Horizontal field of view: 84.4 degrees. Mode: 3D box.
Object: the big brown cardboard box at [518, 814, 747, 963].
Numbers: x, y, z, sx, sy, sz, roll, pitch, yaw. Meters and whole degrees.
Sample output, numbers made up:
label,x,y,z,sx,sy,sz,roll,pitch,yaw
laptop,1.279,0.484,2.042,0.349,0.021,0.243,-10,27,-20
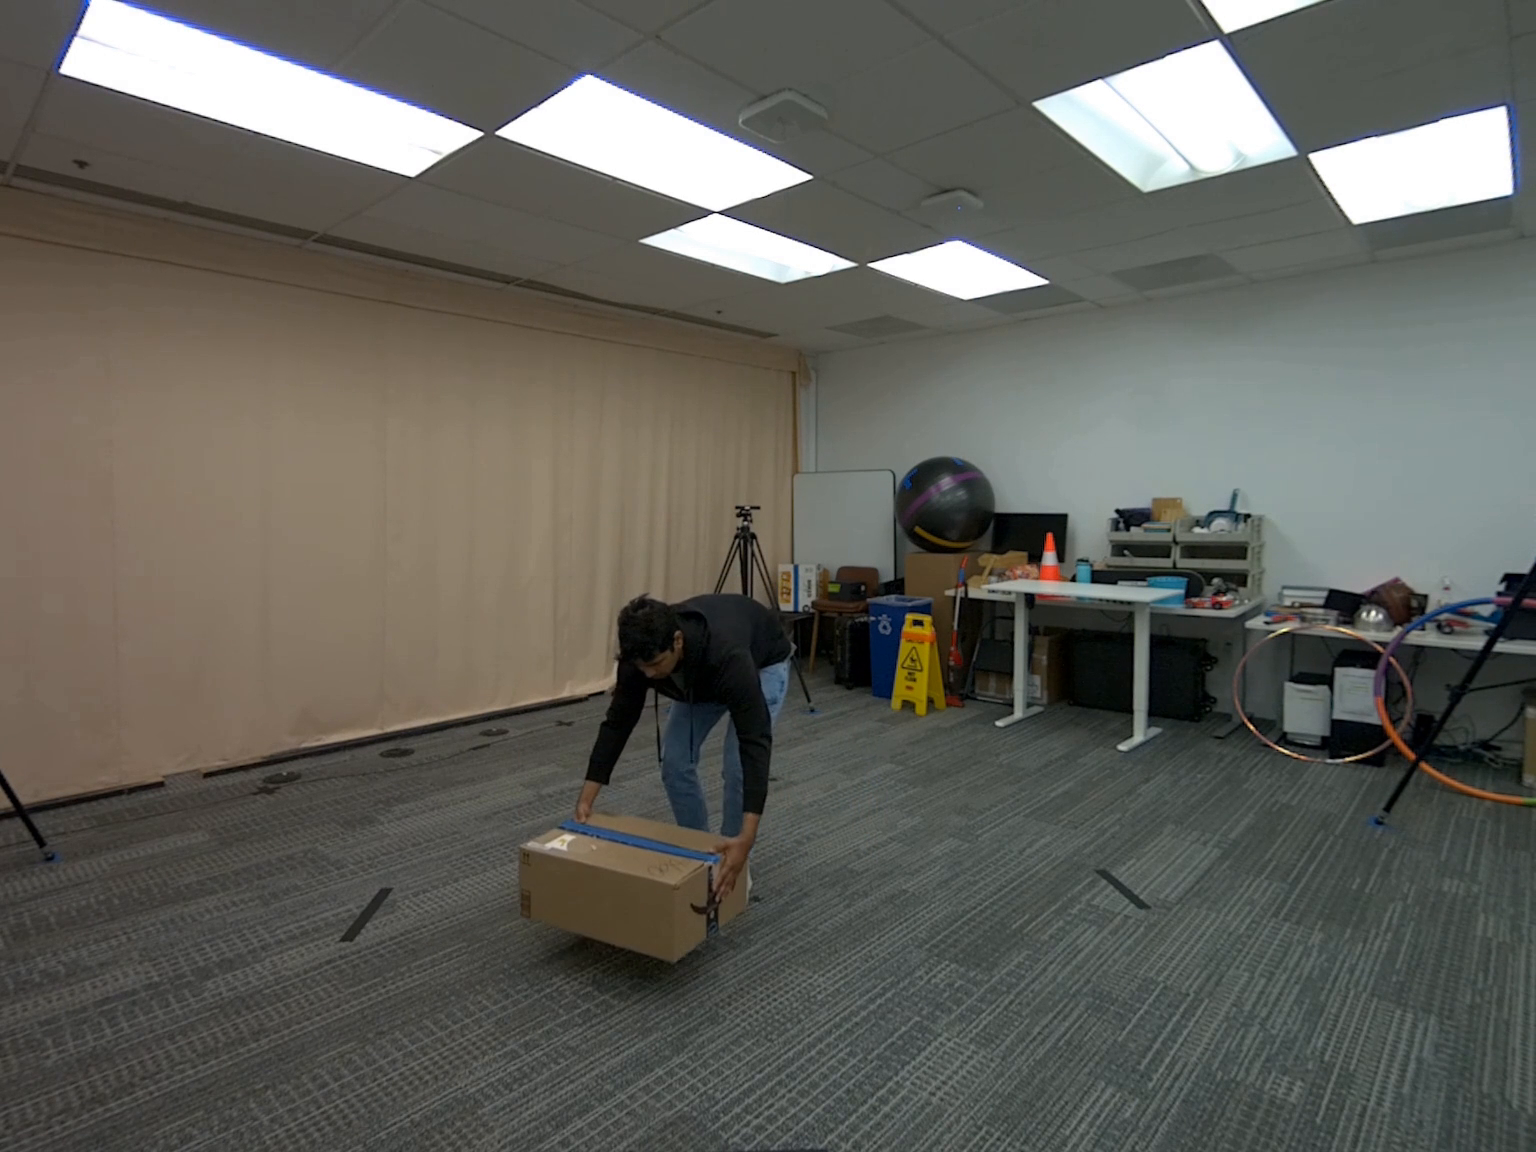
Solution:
label,x,y,z,sx,sy,sz,roll,pitch,yaw
big brown cardboard box,-0.411,0.914,2.599,0.605,0.233,0.406,3,3,28
